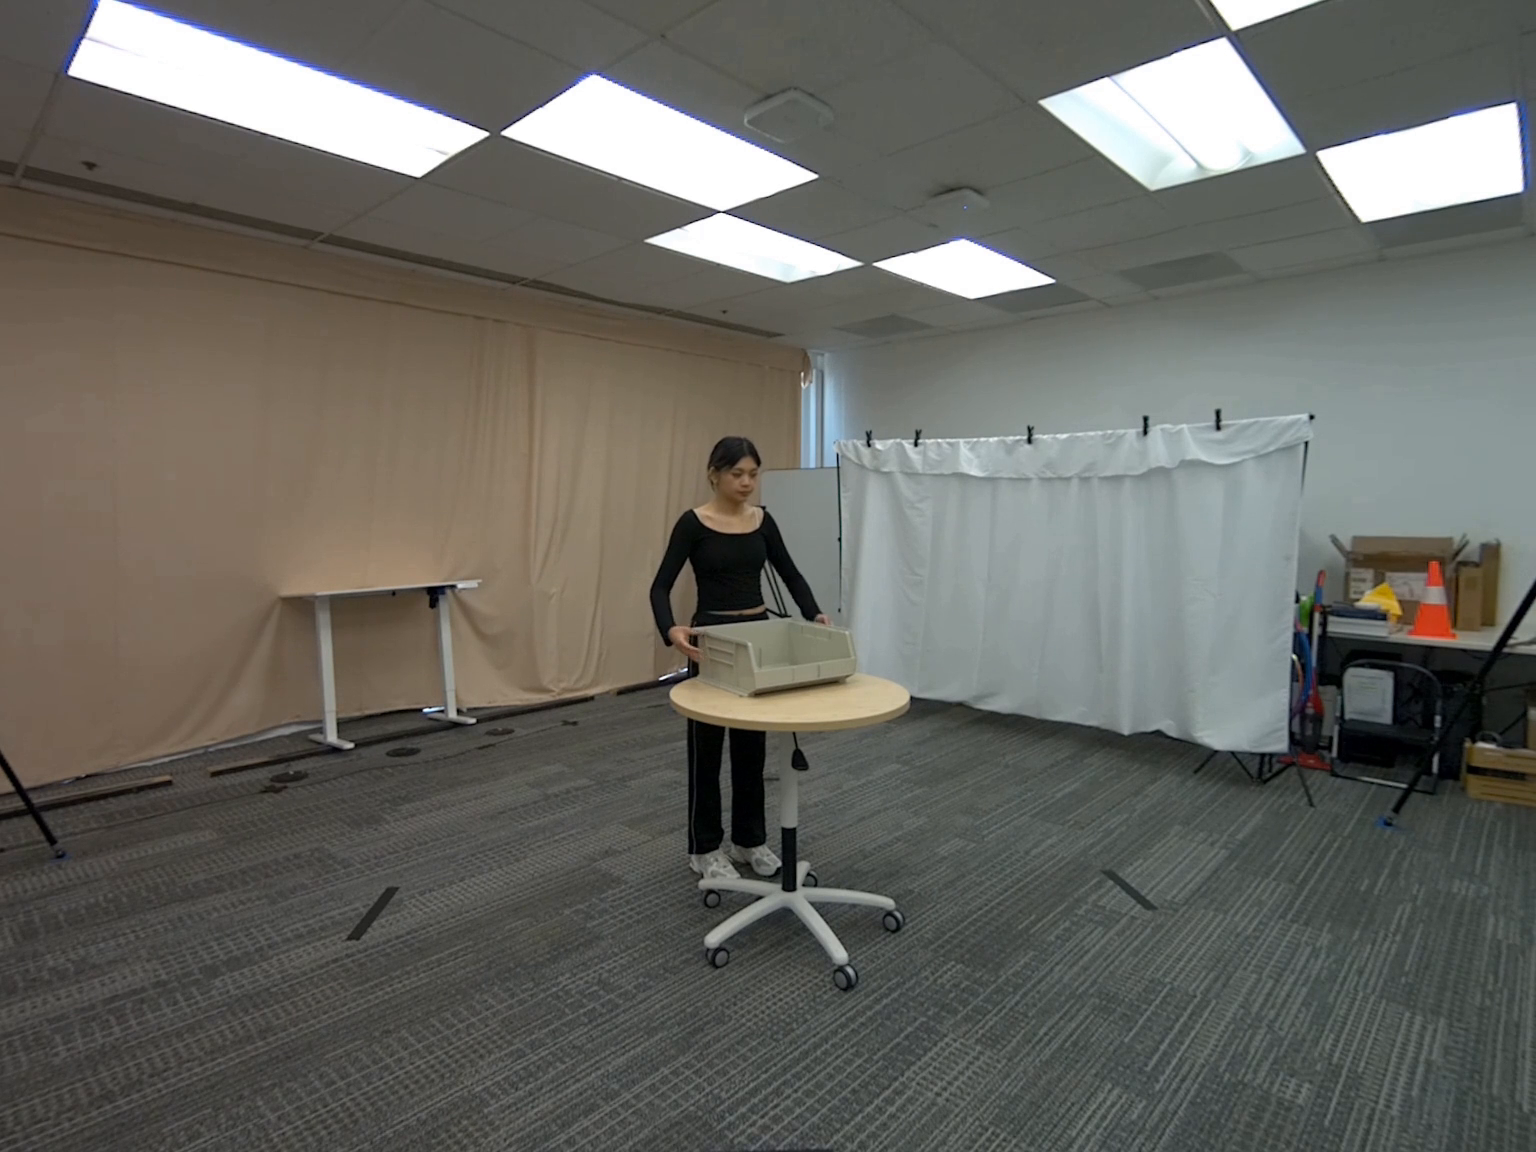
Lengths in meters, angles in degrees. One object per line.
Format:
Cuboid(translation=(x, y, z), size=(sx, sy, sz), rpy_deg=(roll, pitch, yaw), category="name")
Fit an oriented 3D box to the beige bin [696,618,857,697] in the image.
Cuboid(translation=(0.026, 0.269, 2.849), size=(0.410, 0.188, 0.389), rpy_deg=(-5, 5, -34), category="beige bin")
